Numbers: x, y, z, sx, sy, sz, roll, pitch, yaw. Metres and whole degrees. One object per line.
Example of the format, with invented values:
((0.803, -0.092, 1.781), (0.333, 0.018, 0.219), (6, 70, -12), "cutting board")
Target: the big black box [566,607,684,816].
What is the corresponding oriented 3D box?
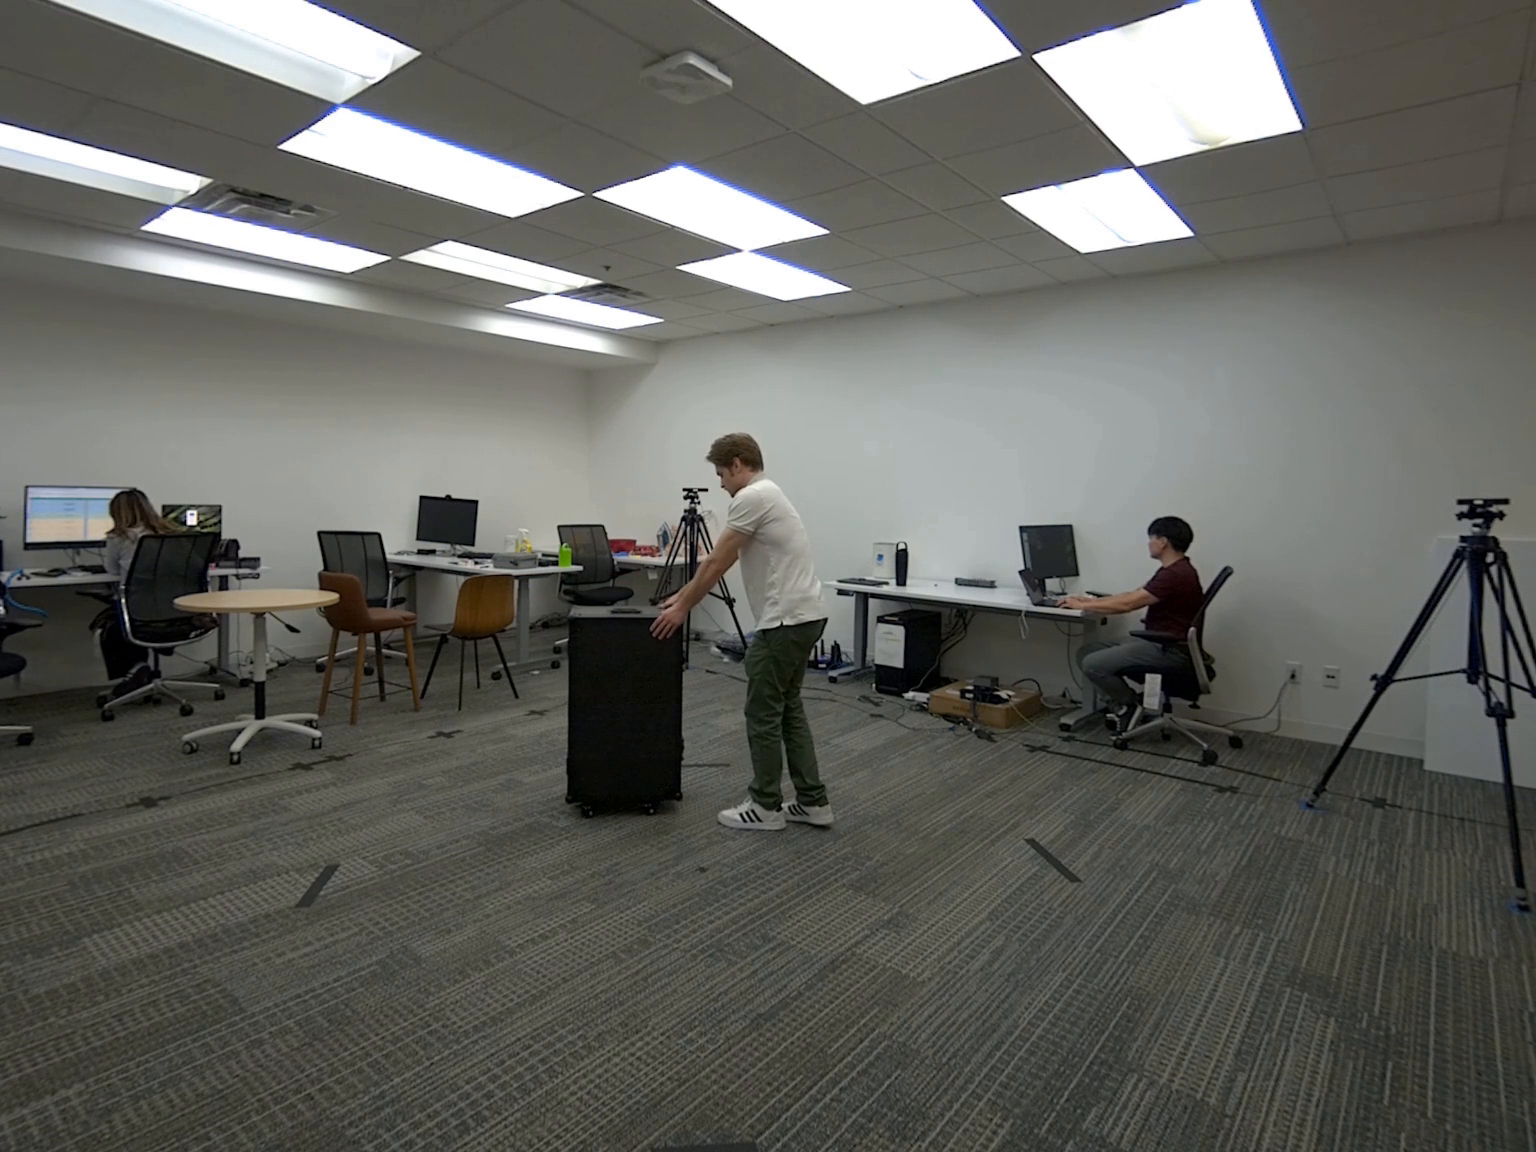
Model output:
((-0.647, 0.581, 3.741), (0.518, 0.867, 0.390), (1, 2, -10), "big black box")
